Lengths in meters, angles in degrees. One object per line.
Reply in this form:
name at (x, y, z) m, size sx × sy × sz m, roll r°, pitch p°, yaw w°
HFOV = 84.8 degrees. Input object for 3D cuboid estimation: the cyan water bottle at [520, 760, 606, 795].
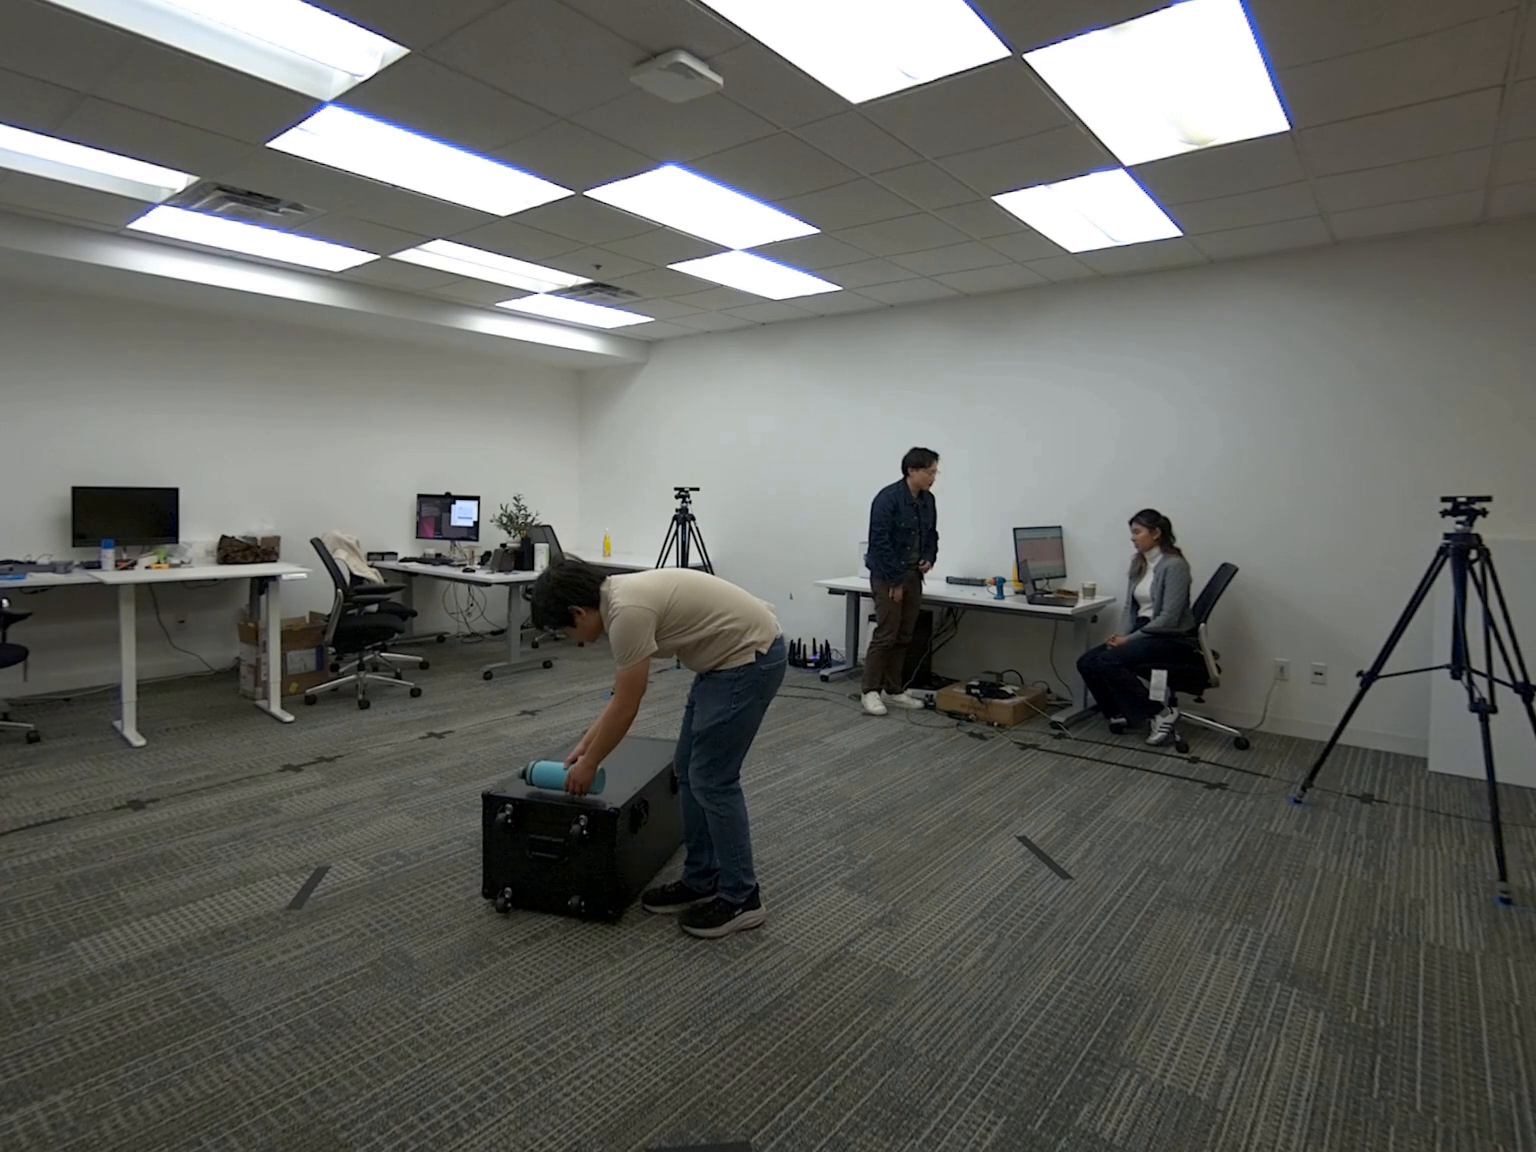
cyan water bottle at (-0.694, 0.661, 2.804) m, size 0.288 × 0.092 × 0.091 m, roll 2°, pitch 4°, yaw 14°
